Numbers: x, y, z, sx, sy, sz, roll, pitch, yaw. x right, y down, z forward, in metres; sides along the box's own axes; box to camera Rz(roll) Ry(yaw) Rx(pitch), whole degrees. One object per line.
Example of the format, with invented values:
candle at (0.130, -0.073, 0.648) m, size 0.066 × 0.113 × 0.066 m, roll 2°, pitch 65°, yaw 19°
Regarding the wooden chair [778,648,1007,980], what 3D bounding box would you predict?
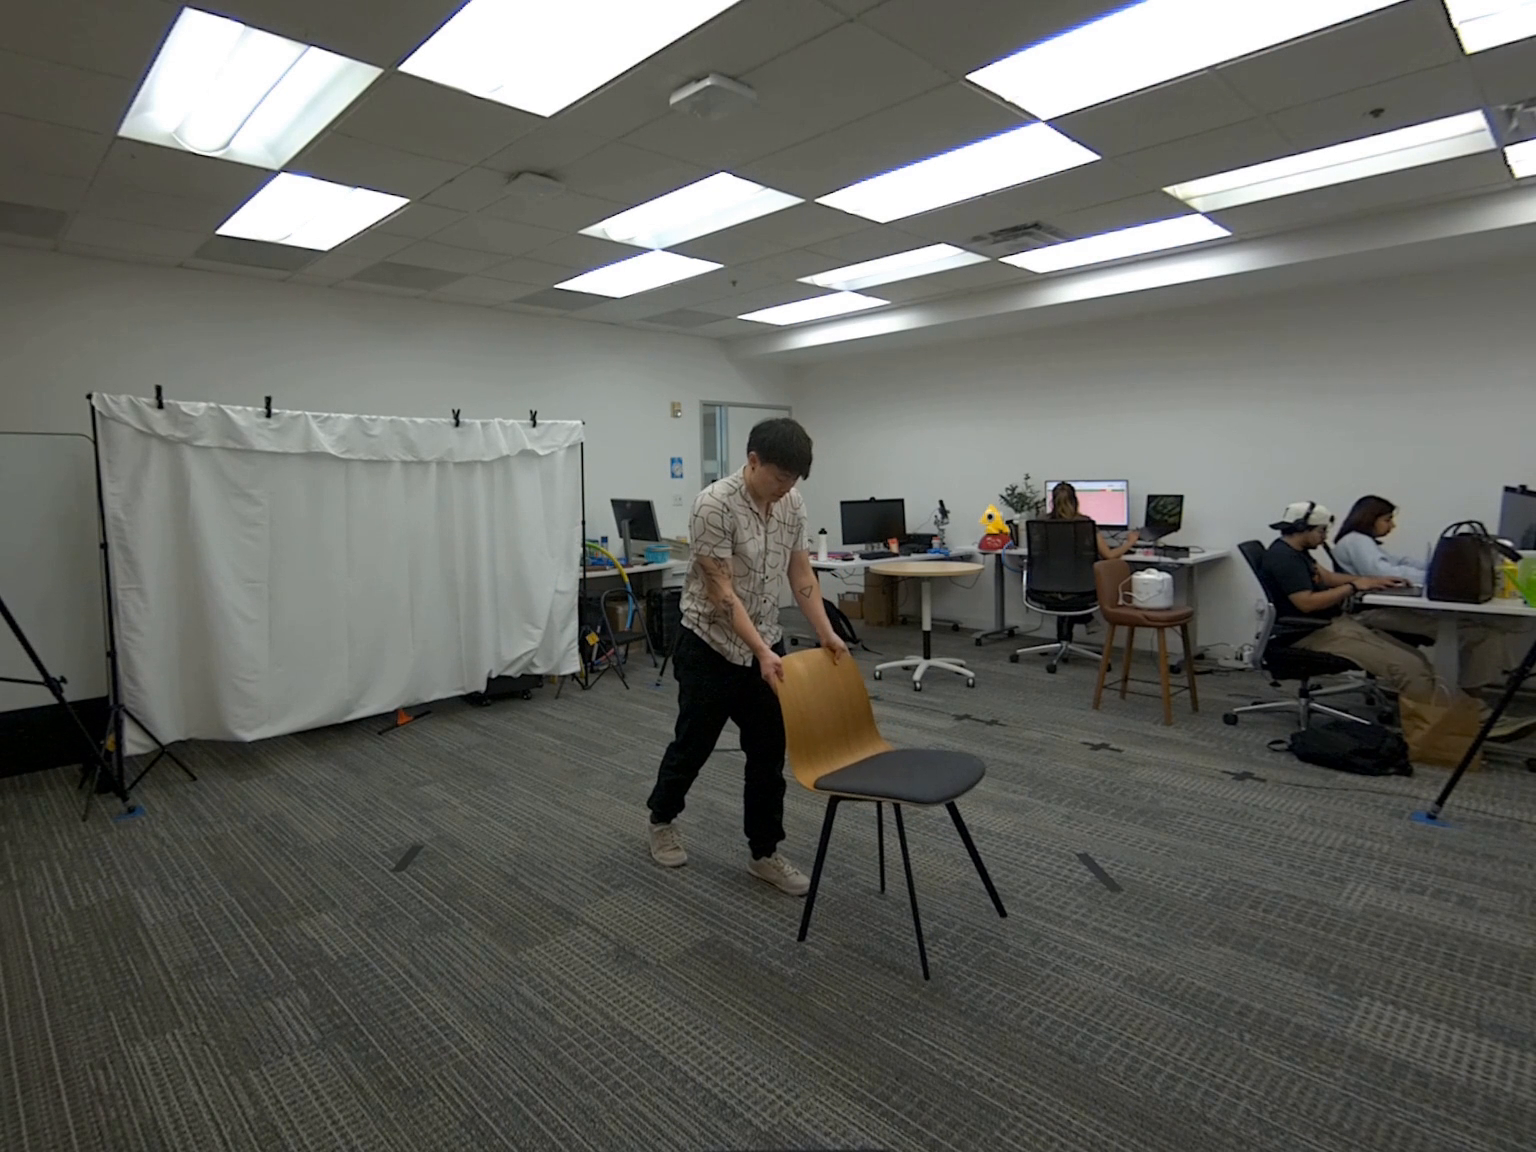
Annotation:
wooden chair at (0.363, 0.644, 2.586) m, size 0.534 × 0.882 × 0.465 m, roll -15°, pitch -6°, yaw 43°
